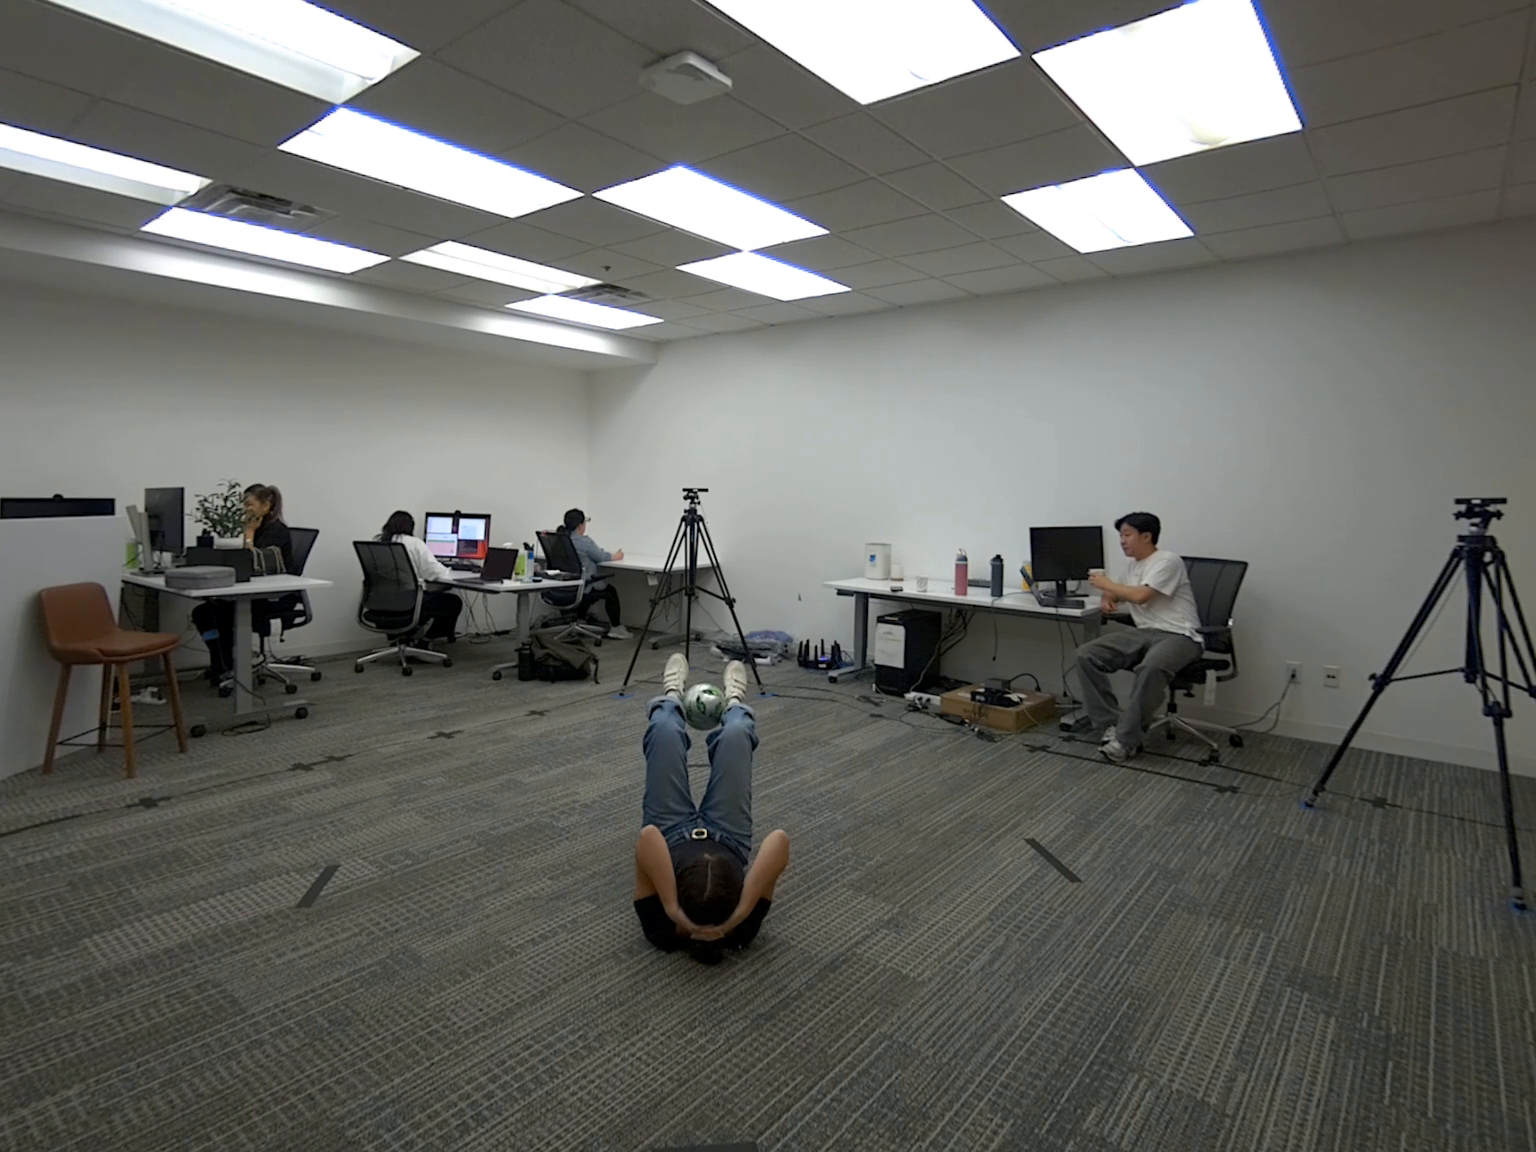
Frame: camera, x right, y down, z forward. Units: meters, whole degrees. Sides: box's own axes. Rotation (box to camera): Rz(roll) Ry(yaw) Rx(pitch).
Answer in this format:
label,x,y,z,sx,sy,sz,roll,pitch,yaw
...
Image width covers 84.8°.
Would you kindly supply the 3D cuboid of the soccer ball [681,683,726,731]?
label,x,y,z,sx,sy,sz,roll,pitch,yaw
soccer ball,-0.262,0.516,3.418,0.187,0.187,0.188,-3,4,-2
